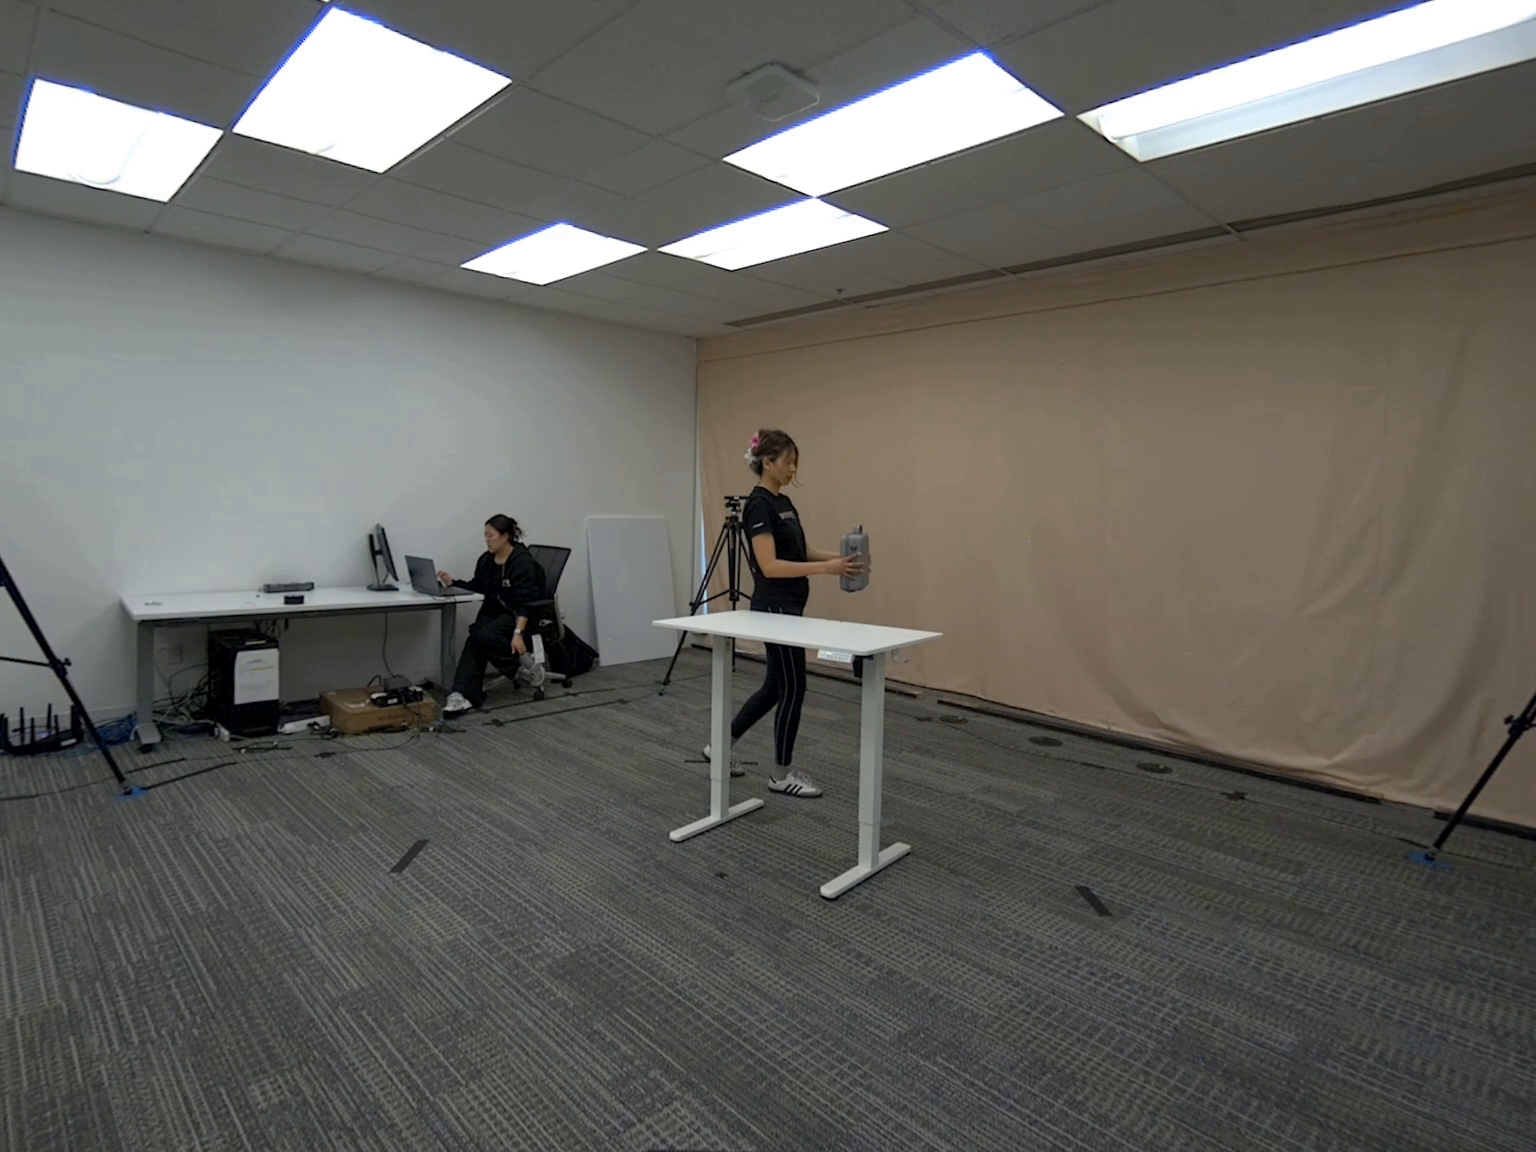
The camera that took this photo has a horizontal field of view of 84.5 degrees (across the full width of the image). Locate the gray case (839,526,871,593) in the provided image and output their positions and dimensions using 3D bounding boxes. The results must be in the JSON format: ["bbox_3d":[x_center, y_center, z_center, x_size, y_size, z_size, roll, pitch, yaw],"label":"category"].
[{"bbox_3d":[0.382,-0.073,3.861,0.106,0.259,0.255,3,7,14],"label":"gray case"}]
